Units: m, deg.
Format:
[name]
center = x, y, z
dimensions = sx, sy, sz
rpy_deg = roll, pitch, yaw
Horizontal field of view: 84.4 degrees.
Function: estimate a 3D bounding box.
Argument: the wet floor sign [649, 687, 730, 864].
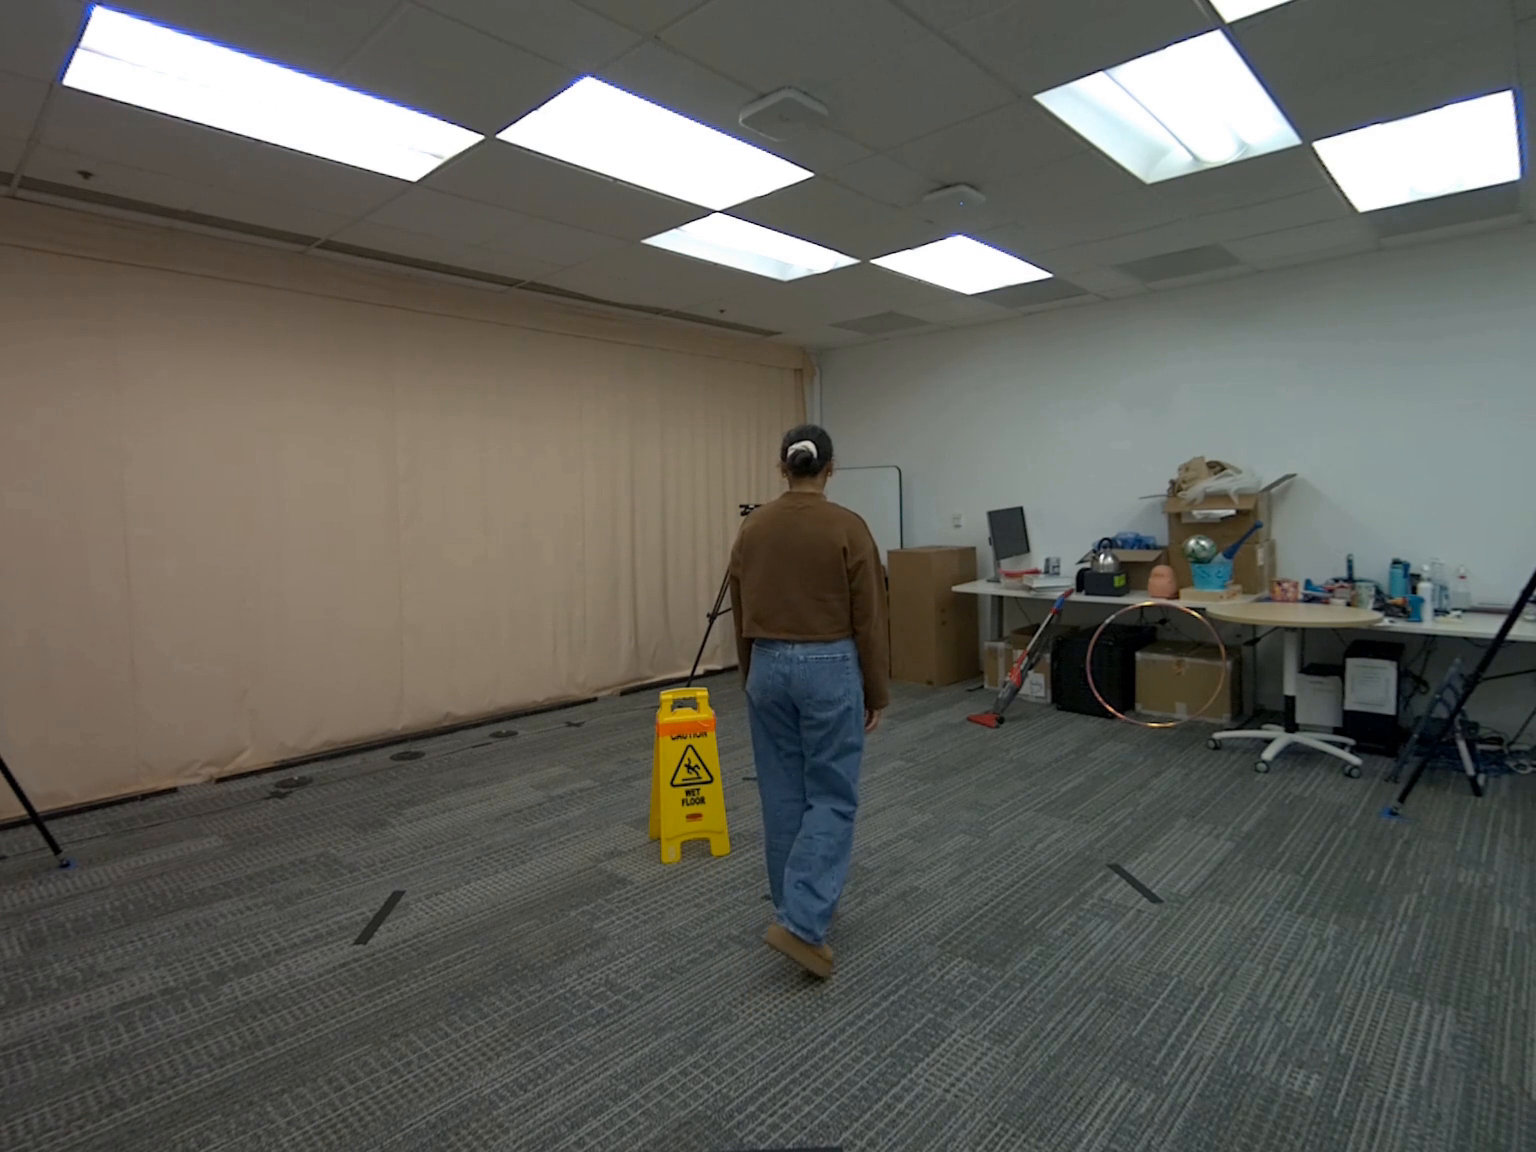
[wet floor sign]
center = -0.331, 0.782, 3.437
dimensions = 0.277, 0.645, 0.295
rpy_deg = -1, 3, -18
